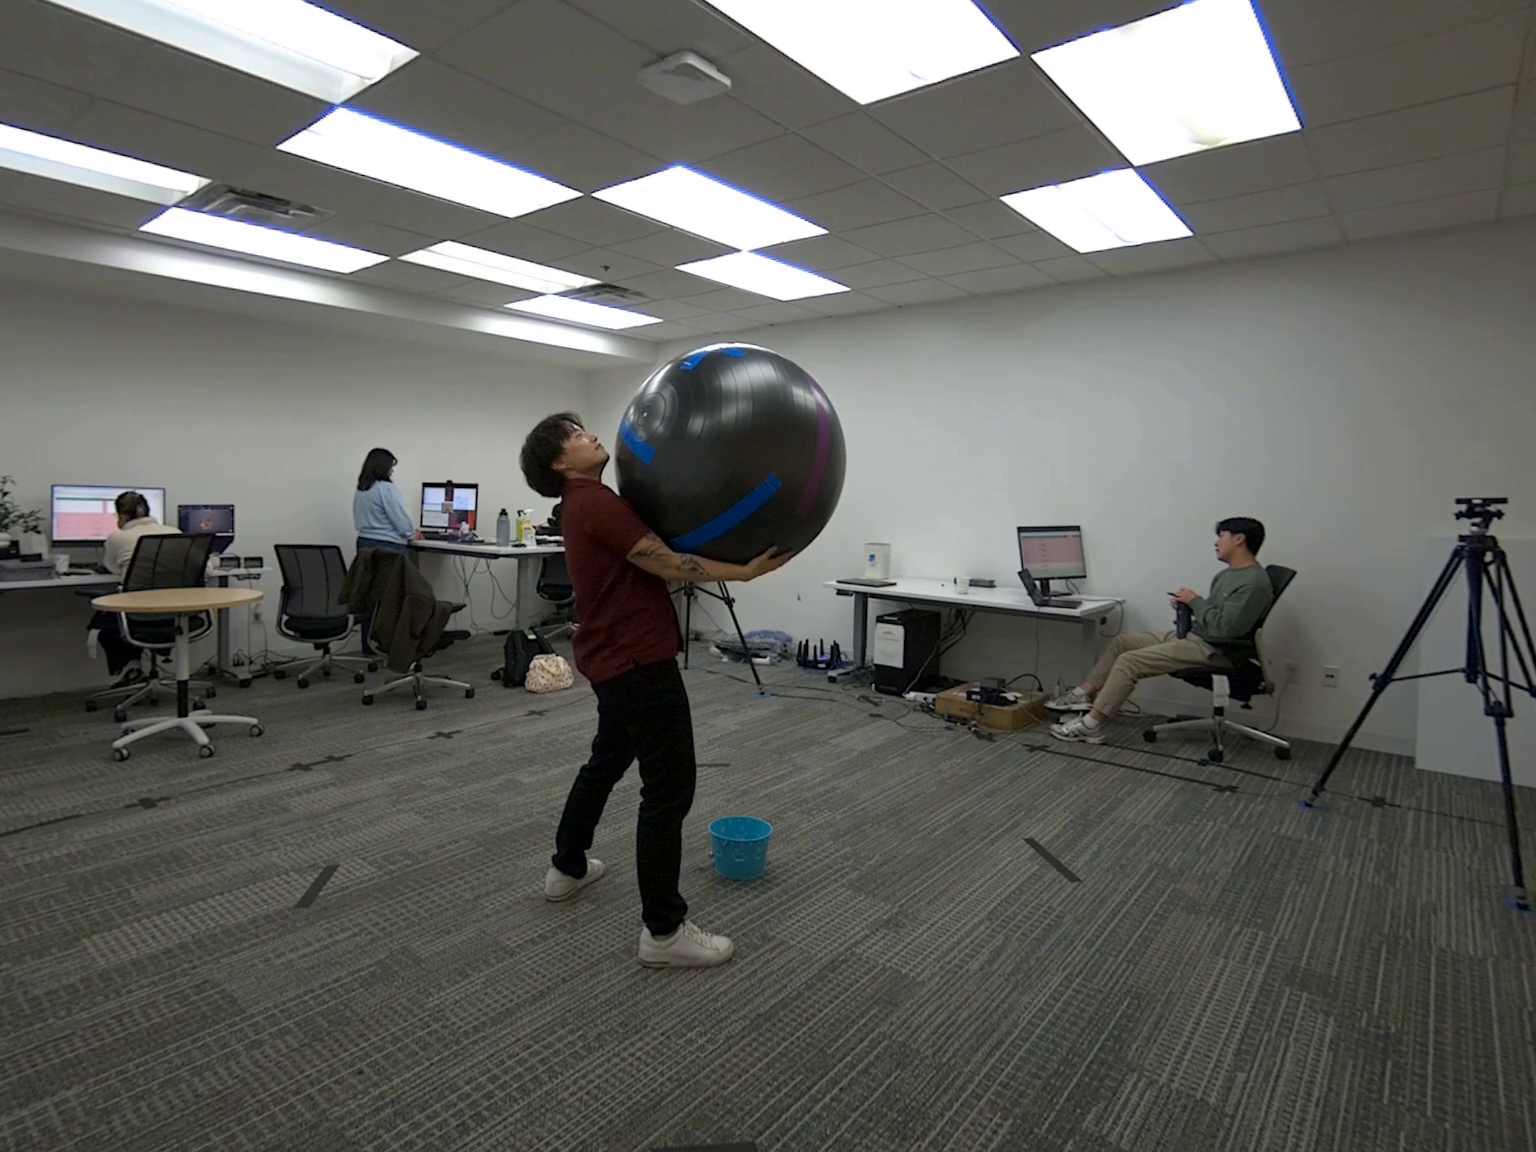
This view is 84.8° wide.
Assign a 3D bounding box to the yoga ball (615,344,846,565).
[{"bbox_3d":[-0.132,-0.376,2.793,0.757,0.756,0.762,1,4,-2],"label":"yoga ball"}]
